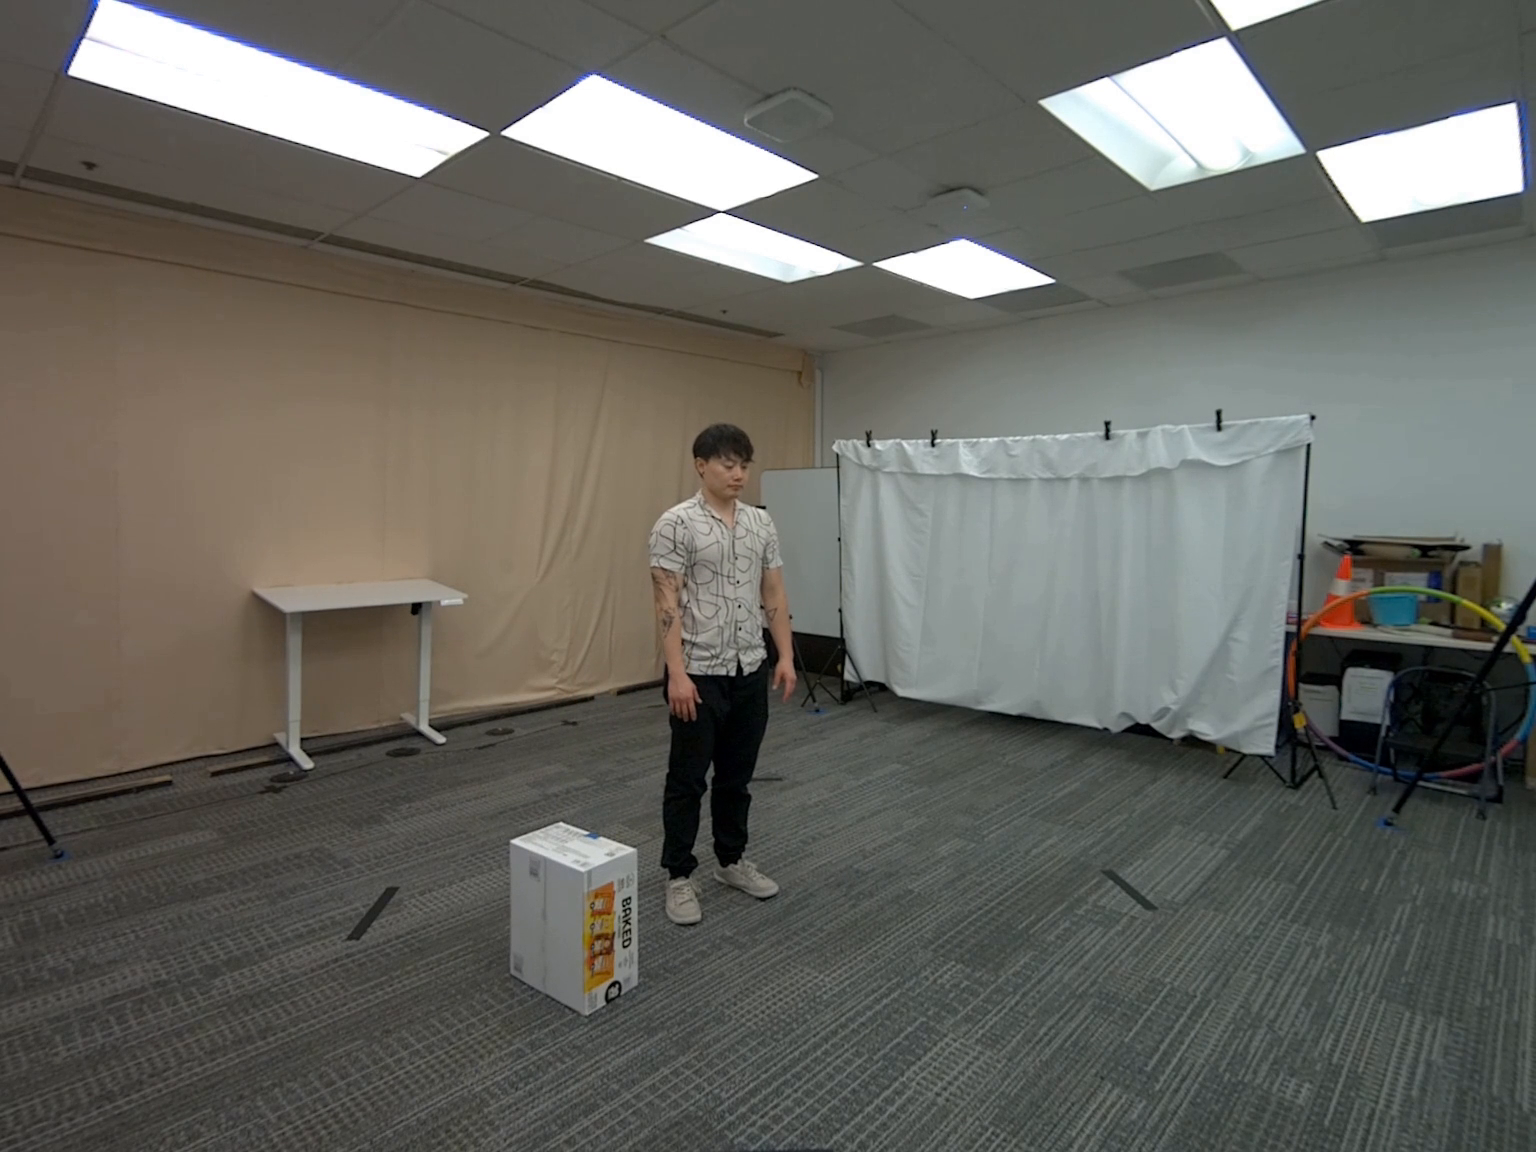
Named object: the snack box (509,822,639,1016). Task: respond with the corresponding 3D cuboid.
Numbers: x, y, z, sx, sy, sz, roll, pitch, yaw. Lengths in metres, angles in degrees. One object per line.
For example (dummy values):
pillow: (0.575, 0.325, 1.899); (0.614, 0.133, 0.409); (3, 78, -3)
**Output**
snack box: (-0.572, 0.992, 2.465); (0.351, 0.404, 0.199); (2, 3, 38)
